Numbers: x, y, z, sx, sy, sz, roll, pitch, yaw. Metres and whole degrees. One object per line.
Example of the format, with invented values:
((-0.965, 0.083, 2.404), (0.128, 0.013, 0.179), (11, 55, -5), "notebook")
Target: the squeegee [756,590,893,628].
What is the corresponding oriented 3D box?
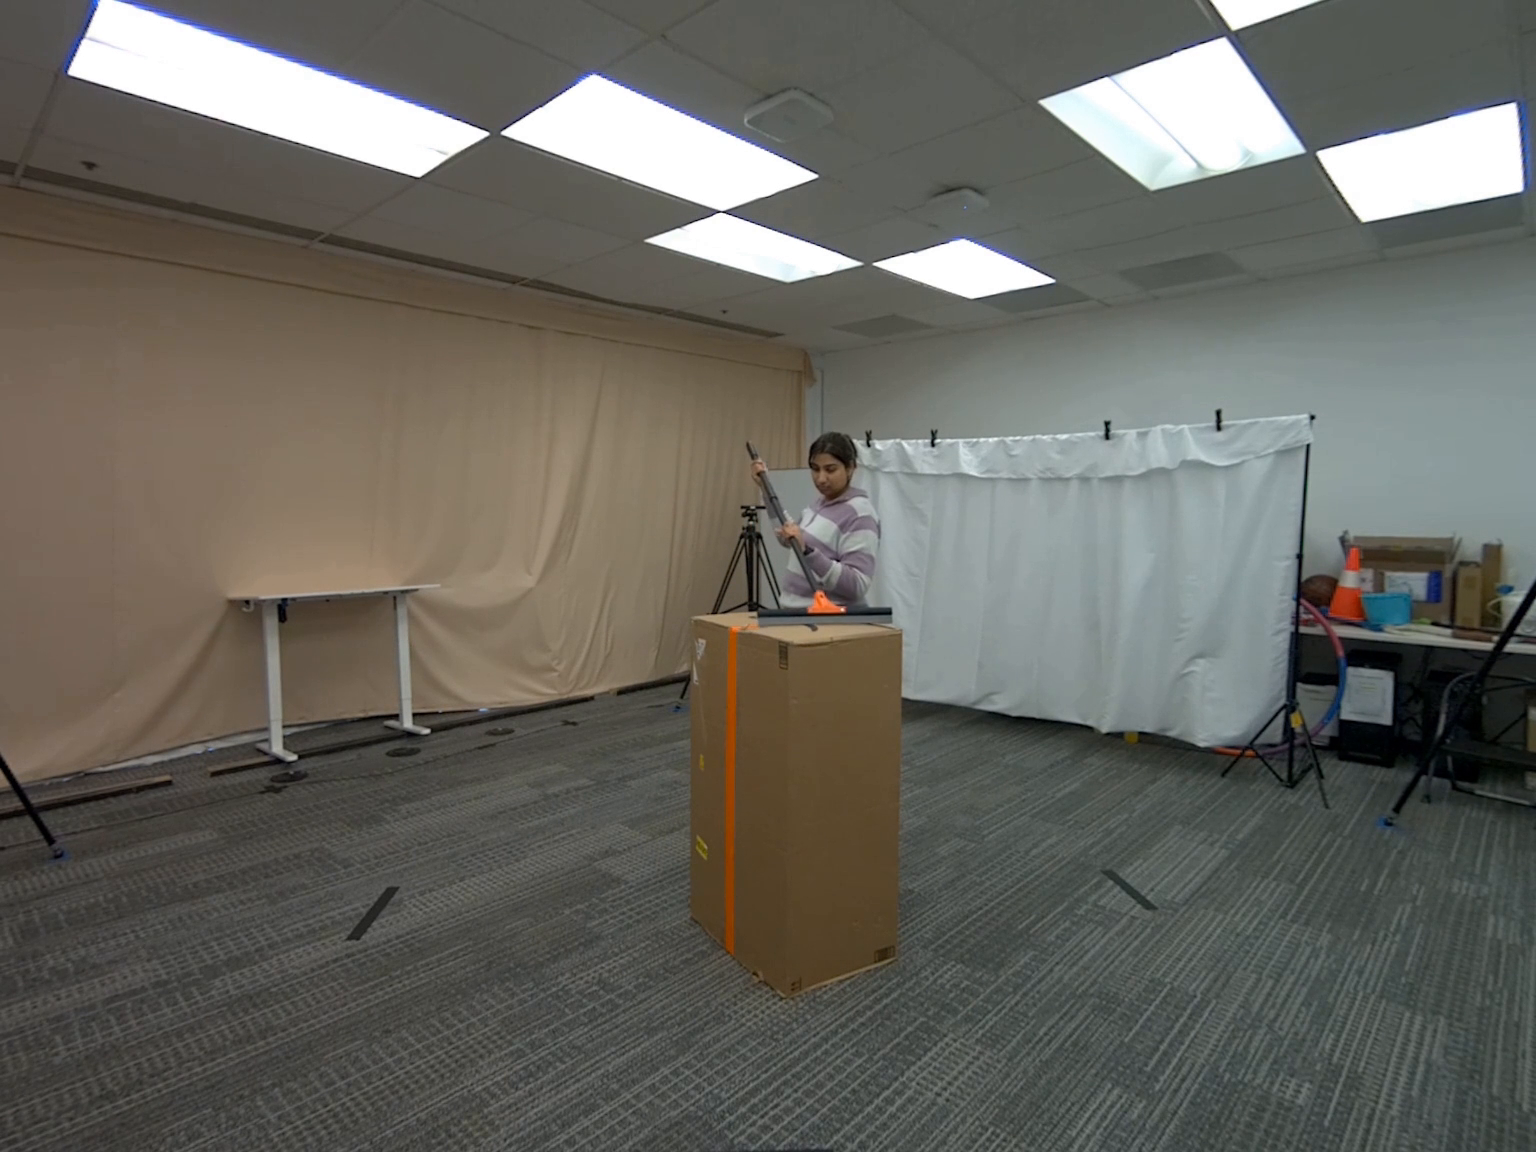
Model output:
((0.041, -0.244, 3.283), (0.434, 0.052, 1.571), (0, 30, -9), "squeegee")
